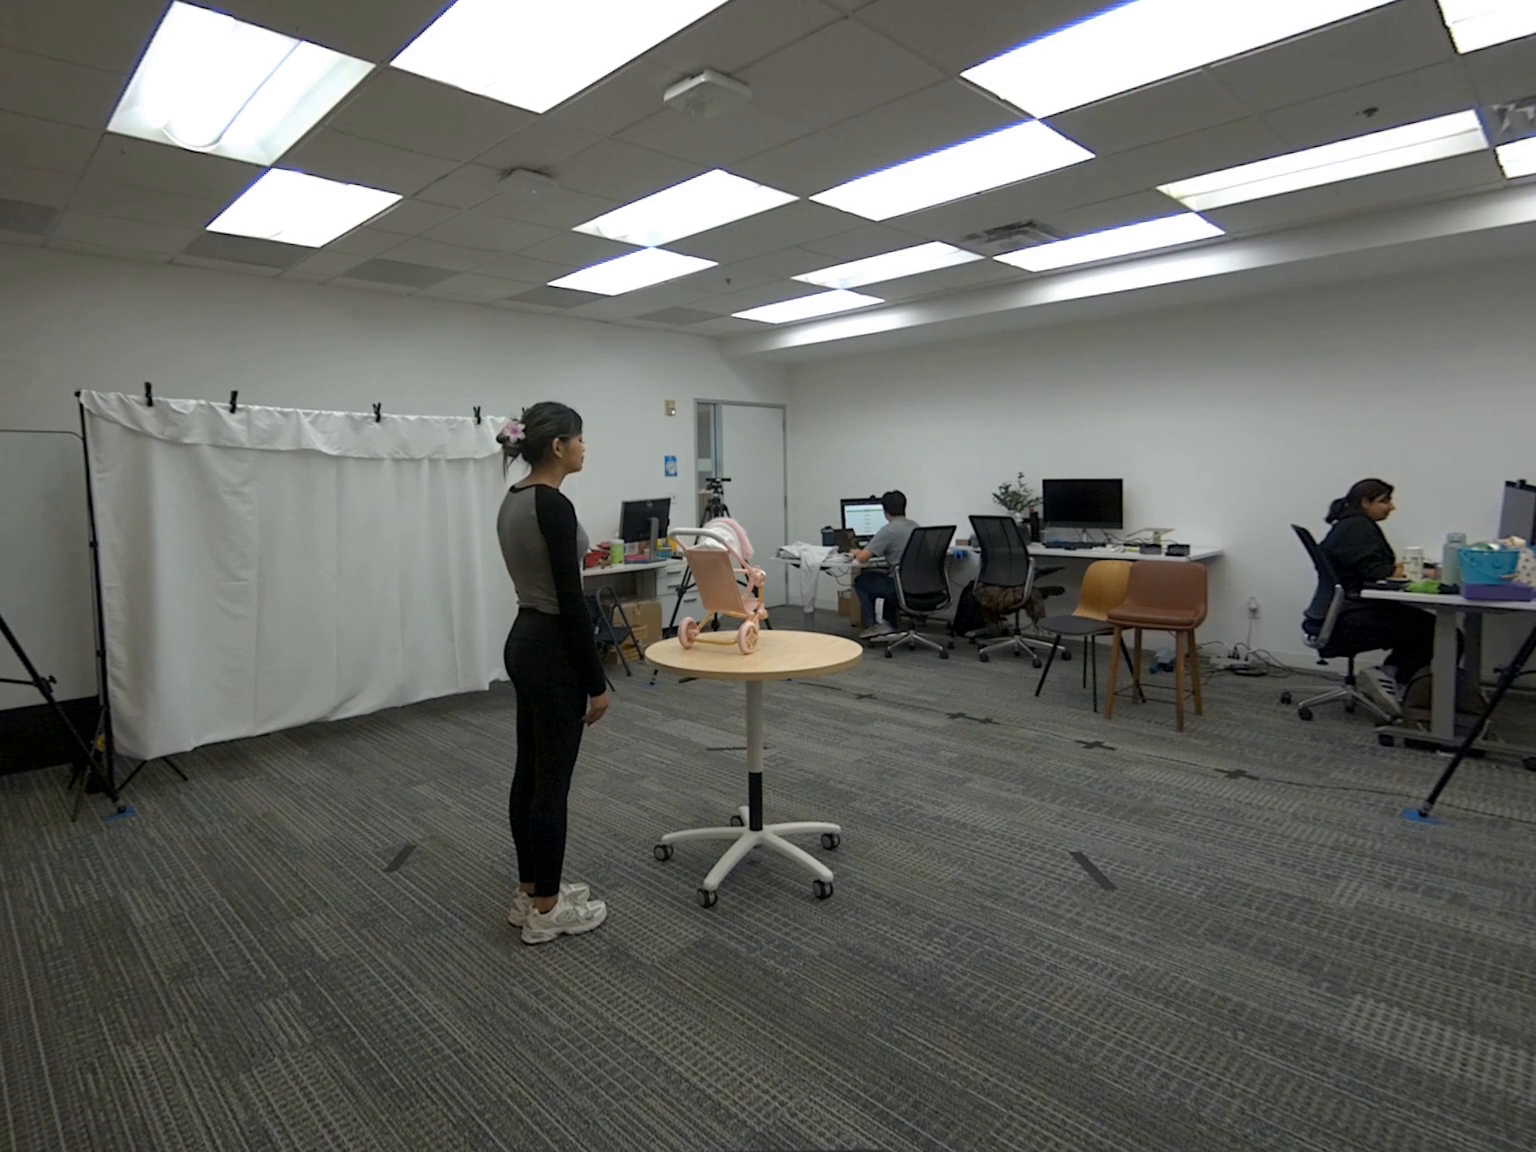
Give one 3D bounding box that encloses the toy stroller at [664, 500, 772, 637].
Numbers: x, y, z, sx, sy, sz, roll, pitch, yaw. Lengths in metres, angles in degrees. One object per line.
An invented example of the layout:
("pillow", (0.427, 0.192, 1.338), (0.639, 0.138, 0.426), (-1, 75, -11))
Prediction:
("toy stroller", (-0.145, 0.032, 3.046), (0.289, 0.526, 0.337), (2, 20, 34))
